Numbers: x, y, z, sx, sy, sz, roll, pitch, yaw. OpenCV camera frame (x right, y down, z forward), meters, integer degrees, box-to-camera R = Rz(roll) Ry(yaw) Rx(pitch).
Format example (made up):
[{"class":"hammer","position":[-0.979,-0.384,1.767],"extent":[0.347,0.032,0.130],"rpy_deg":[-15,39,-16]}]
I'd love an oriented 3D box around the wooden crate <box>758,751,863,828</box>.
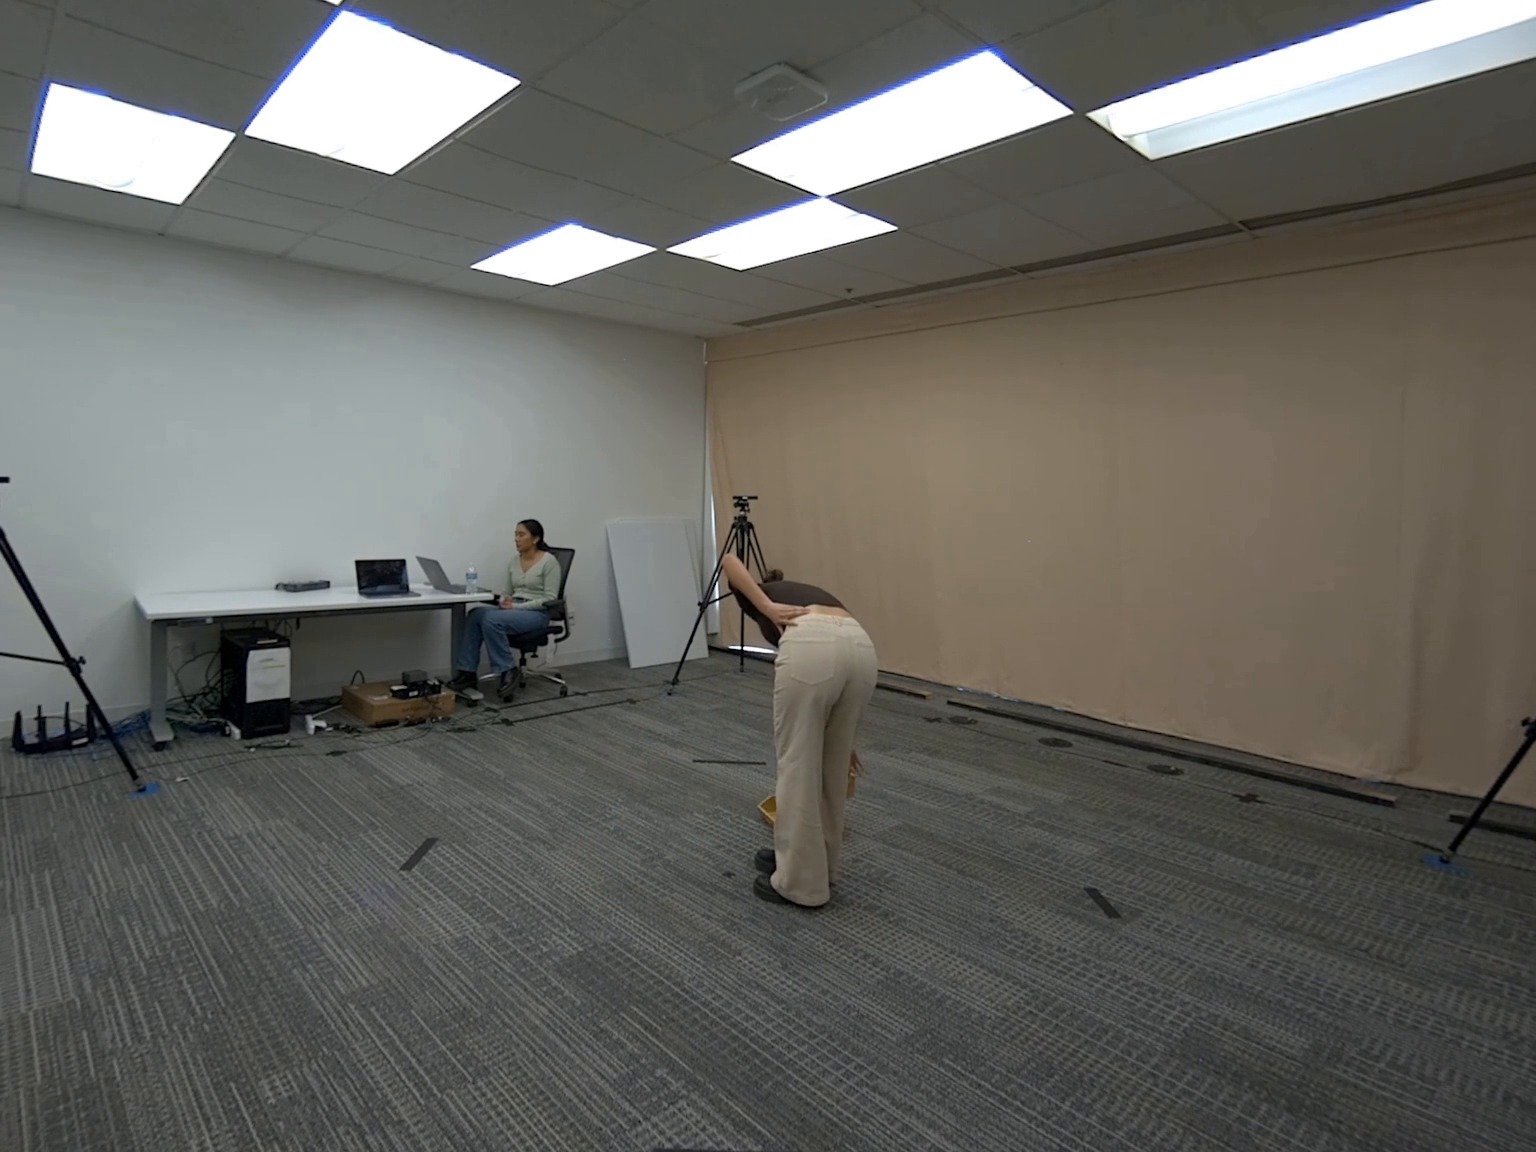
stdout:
[{"class":"wooden crate","position":[0.146,0.933,3.567],"extent":[0.297,0.273,0.330],"rpy_deg":[2,3,-22]}]
